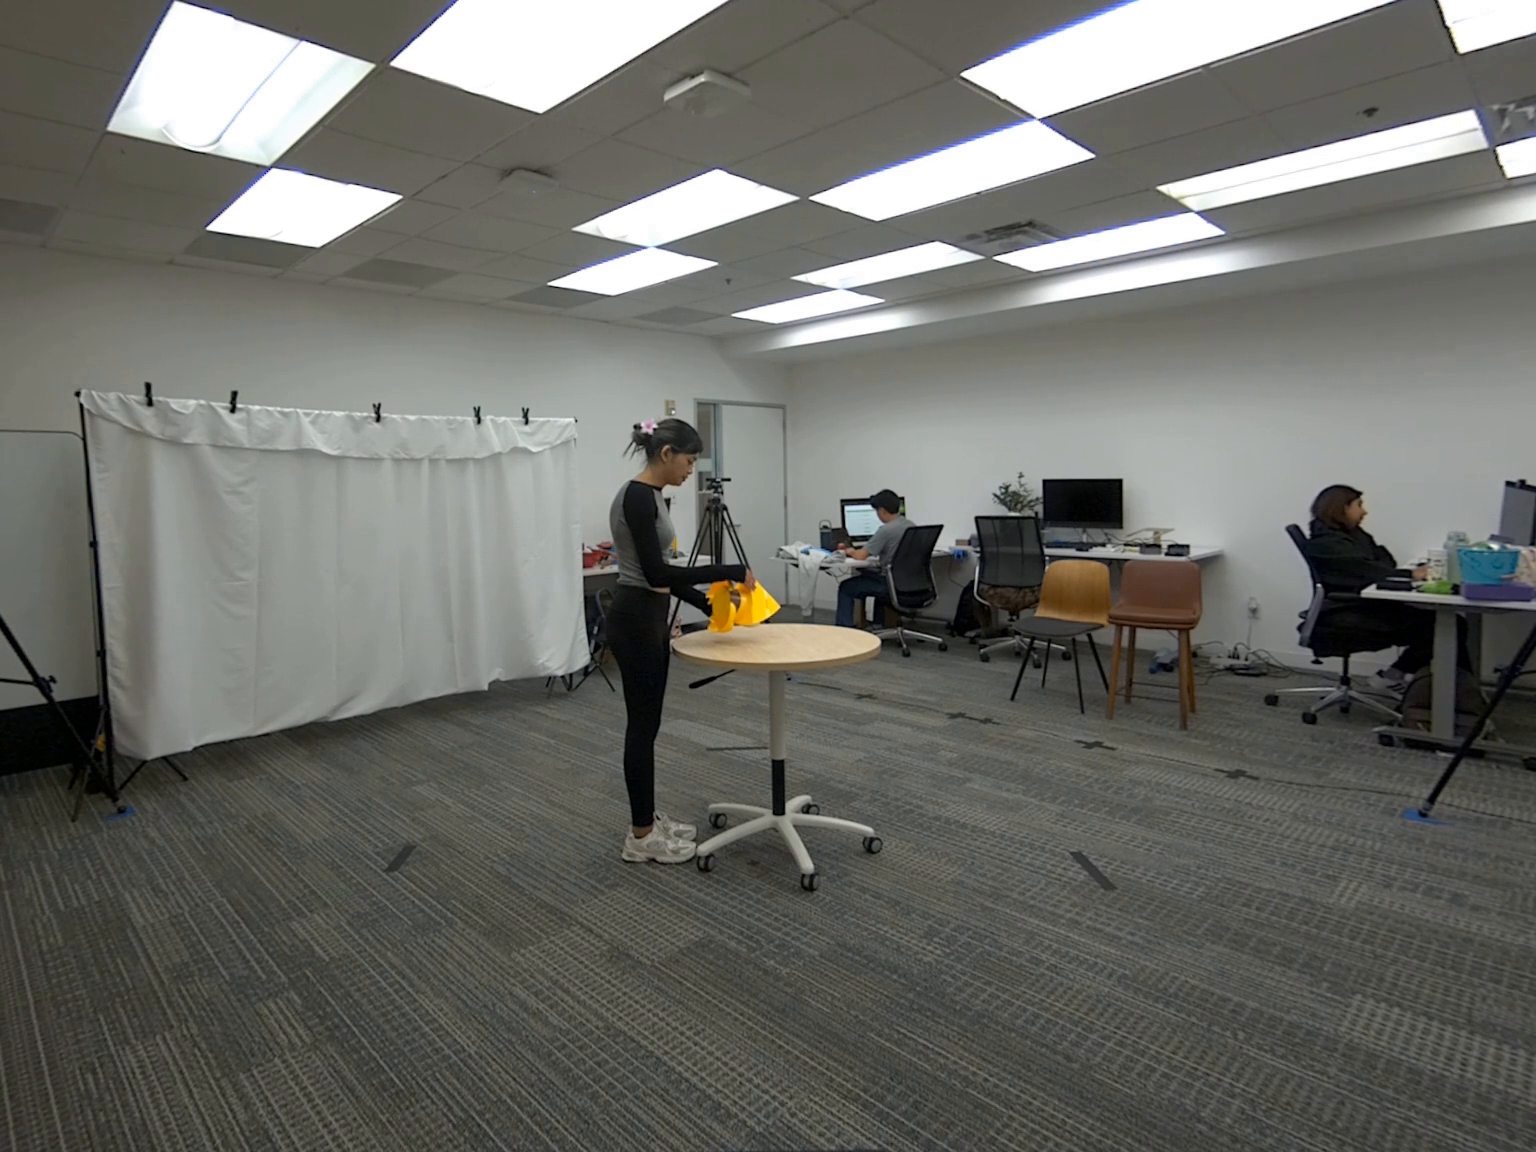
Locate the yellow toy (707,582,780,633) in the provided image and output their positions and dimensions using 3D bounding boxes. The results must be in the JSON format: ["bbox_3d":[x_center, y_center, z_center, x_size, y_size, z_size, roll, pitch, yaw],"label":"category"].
[{"bbox_3d":[-0.083,0.122,3.172,0.224,0.210,0.194,12,-32,-31],"label":"yellow toy"}]
